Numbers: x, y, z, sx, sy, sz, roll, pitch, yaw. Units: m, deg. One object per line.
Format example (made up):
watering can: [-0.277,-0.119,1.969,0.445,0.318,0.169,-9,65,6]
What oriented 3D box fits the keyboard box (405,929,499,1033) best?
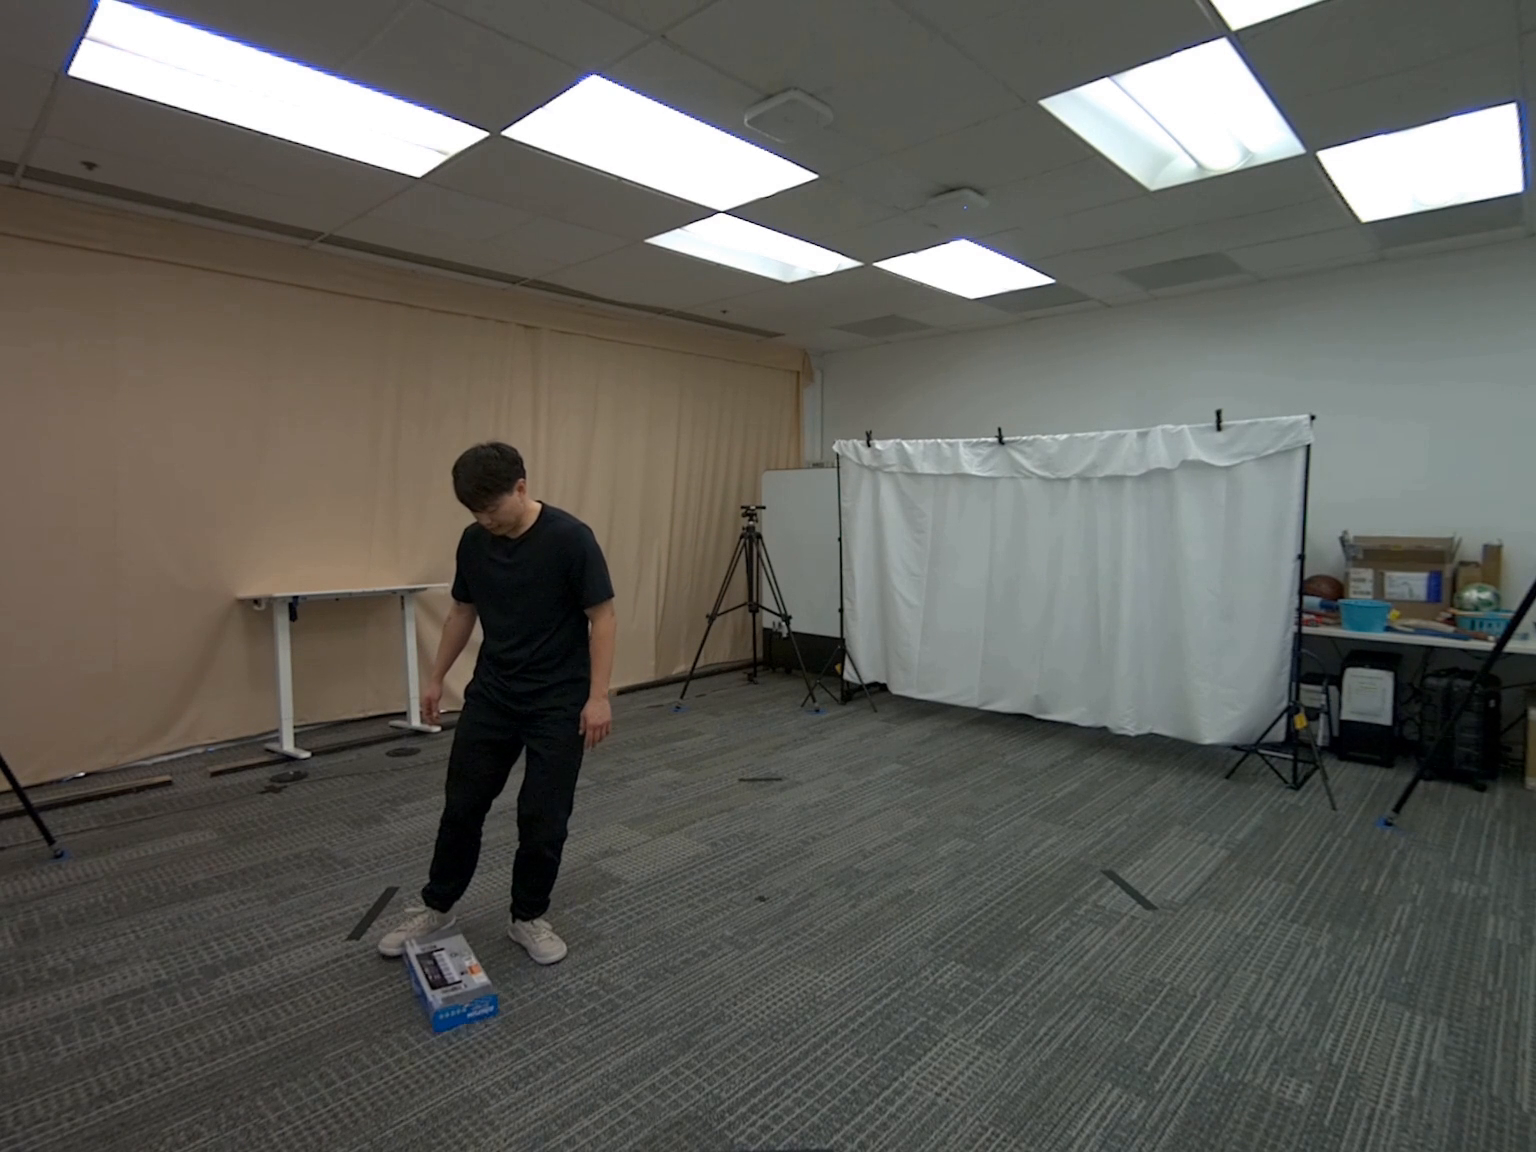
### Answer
keyboard box: [-0.928,1.167,2.450,0.171,0.059,0.450,-3,5,-33]
